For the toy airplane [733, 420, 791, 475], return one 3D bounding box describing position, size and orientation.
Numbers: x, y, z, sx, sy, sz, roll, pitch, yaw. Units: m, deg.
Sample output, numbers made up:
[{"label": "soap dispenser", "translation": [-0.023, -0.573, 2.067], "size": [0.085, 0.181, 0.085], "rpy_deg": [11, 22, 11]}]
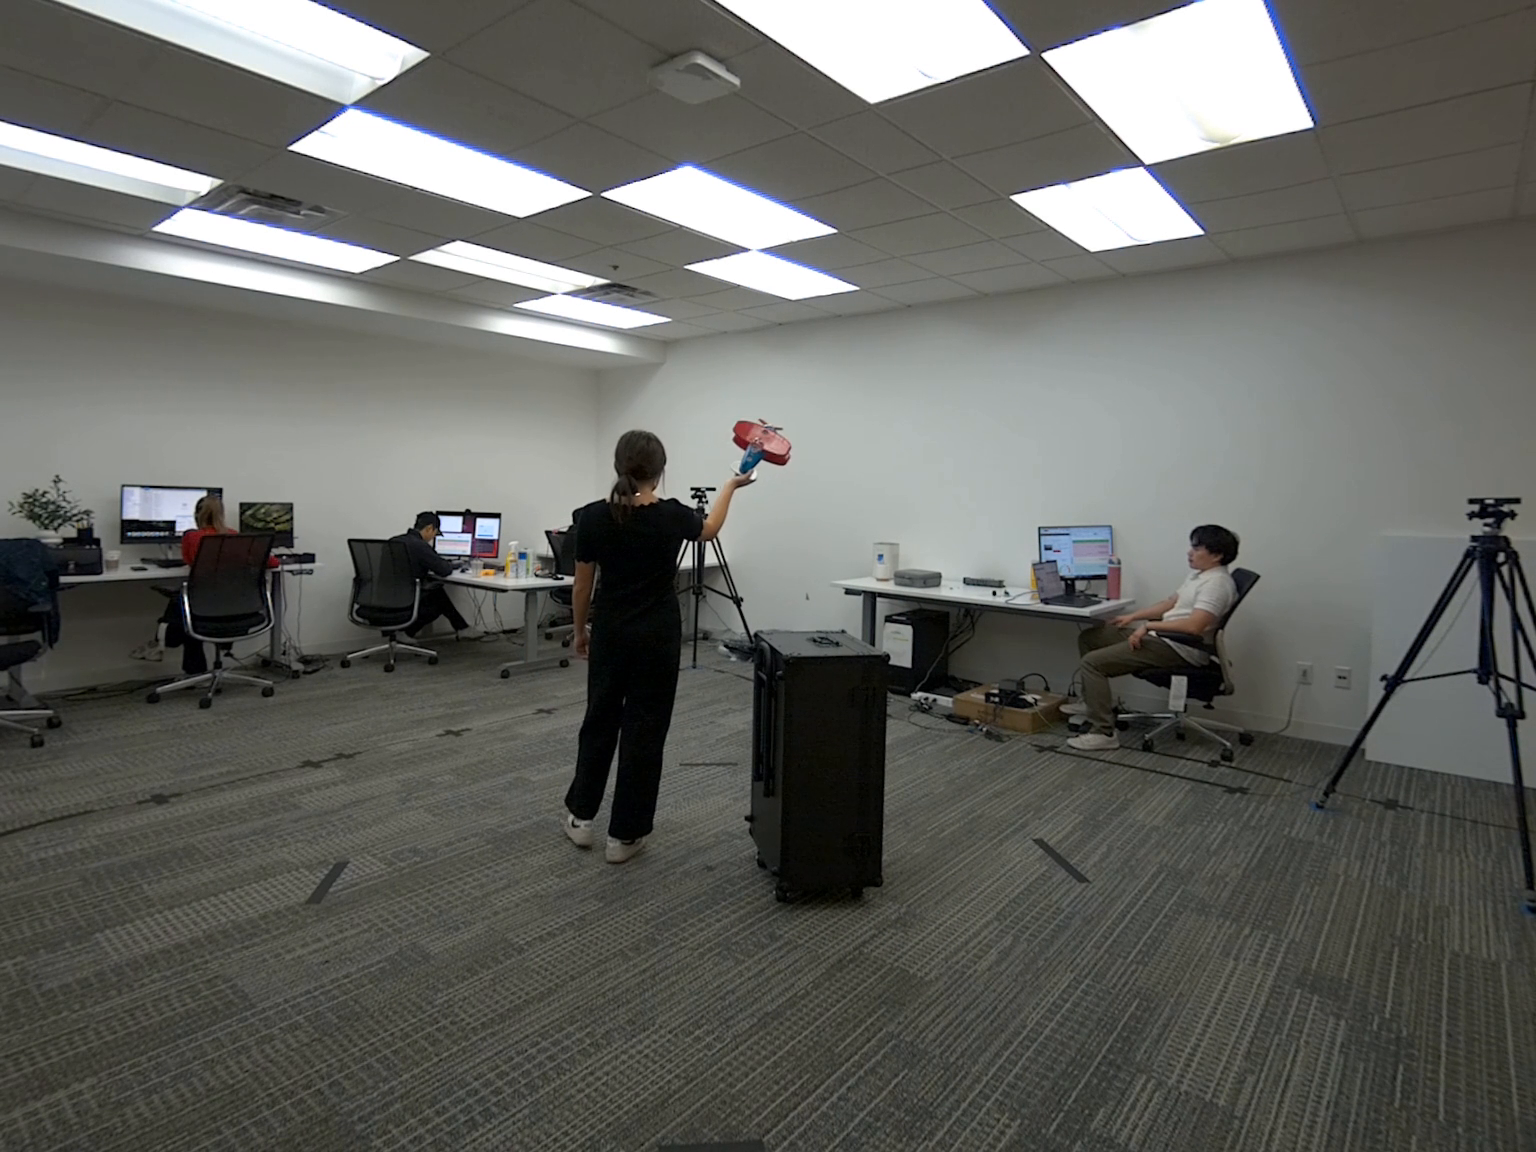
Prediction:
[{"label": "toy airplane", "translation": [-0.040, -0.510, 3.513], "size": [0.250, 0.266, 0.153], "rpy_deg": [4, -37, -5]}]
